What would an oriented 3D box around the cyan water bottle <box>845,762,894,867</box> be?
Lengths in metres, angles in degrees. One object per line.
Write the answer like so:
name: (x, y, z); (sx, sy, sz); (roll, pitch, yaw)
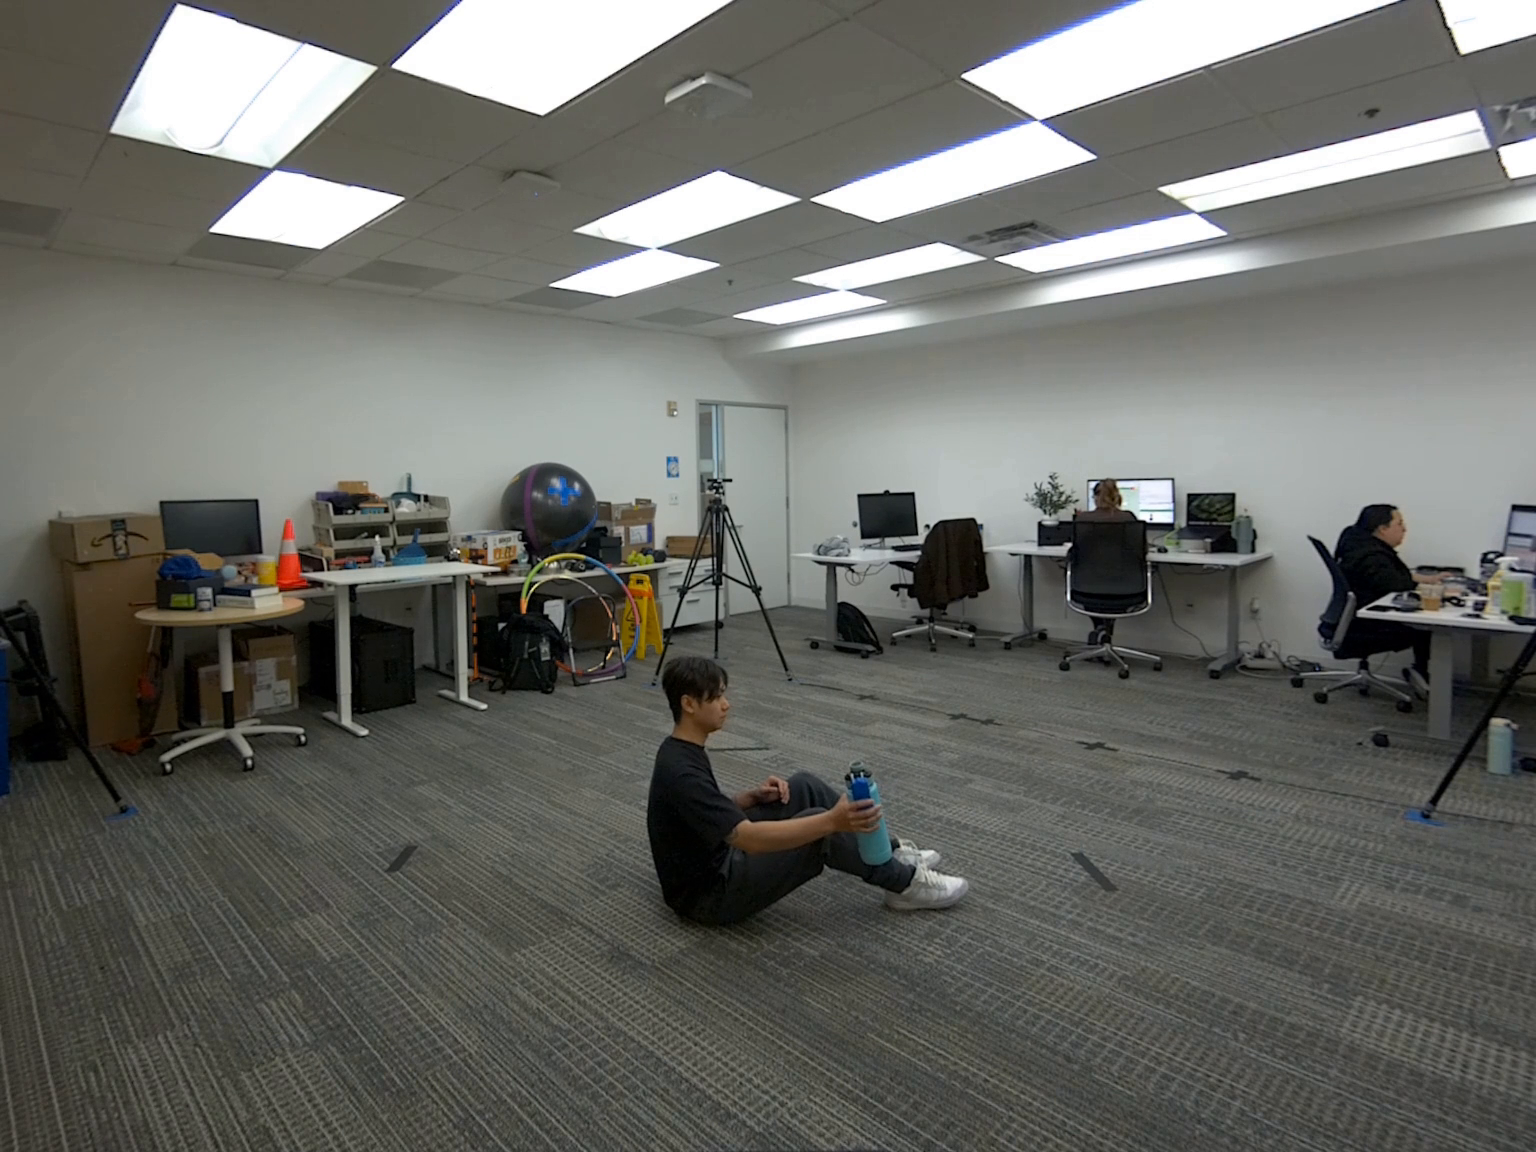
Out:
cyan water bottle: (0.293, 0.671, 2.420); (0.092, 0.280, 0.093); (-10, 12, 1)
